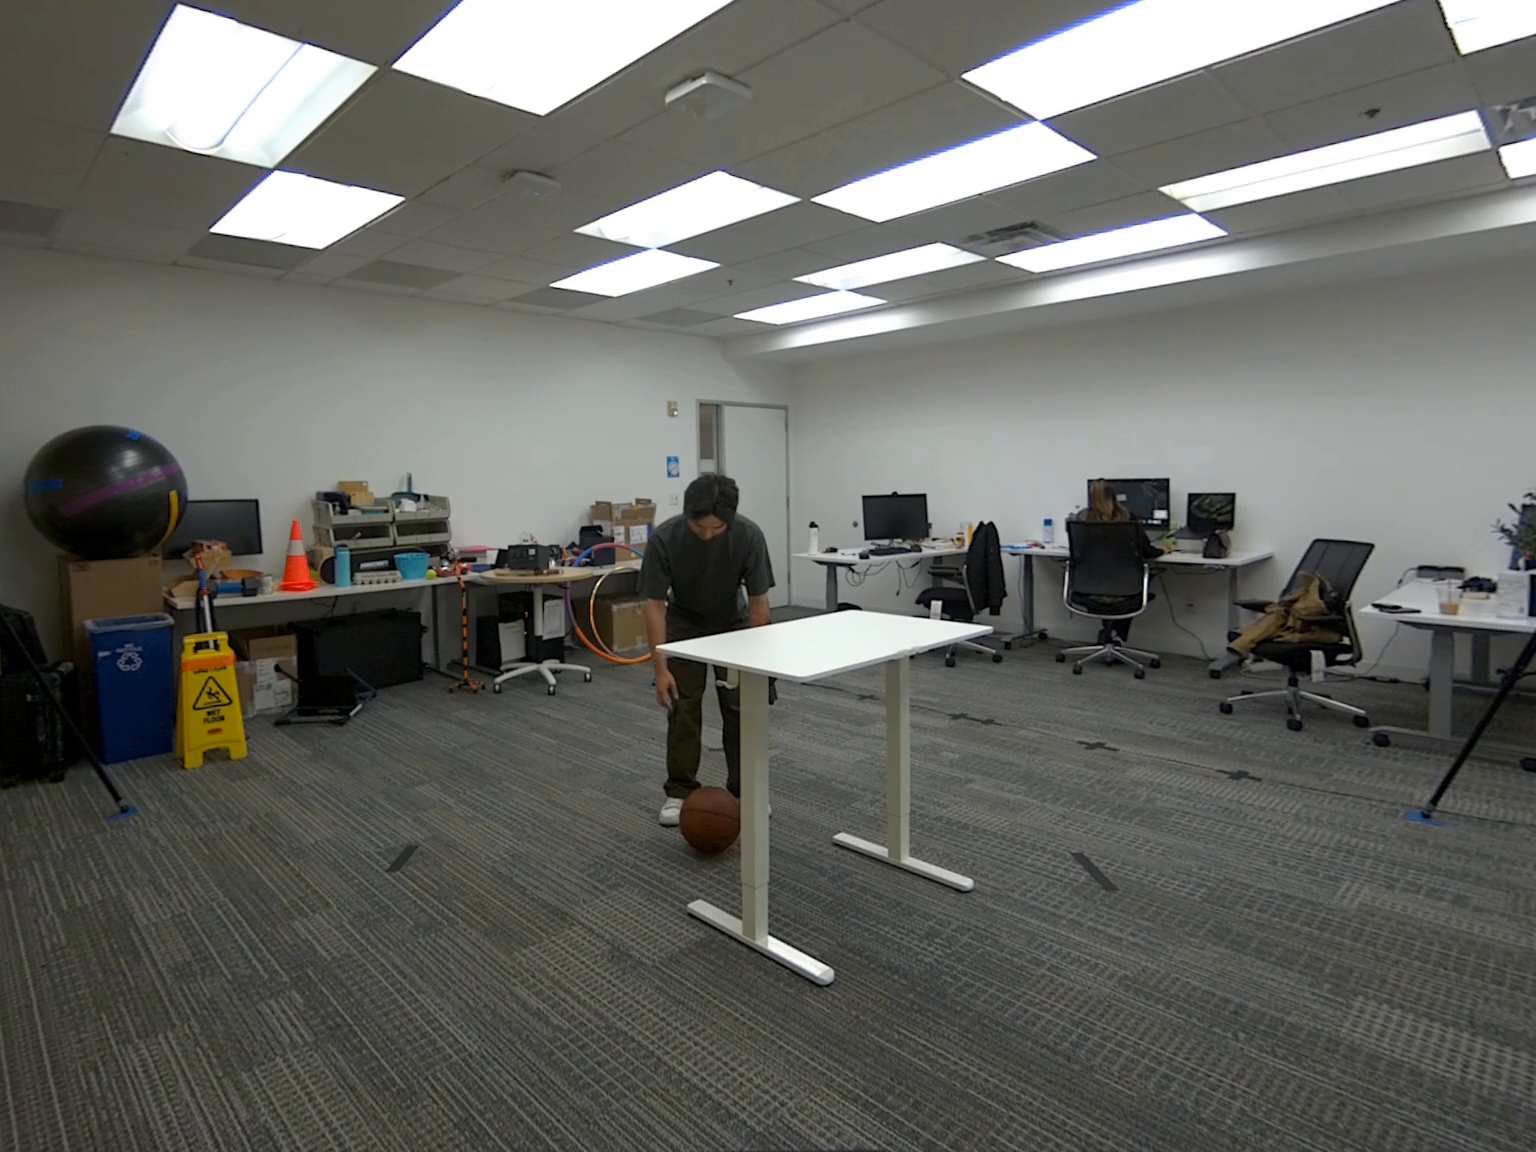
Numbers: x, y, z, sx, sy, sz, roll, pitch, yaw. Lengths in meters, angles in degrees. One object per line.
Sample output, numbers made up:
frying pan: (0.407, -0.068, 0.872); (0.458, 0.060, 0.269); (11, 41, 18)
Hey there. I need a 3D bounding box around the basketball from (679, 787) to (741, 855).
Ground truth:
basketball: (-0.215, 0.915, 3.218); (0.236, 0.235, 0.237); (-1, 5, -2)
